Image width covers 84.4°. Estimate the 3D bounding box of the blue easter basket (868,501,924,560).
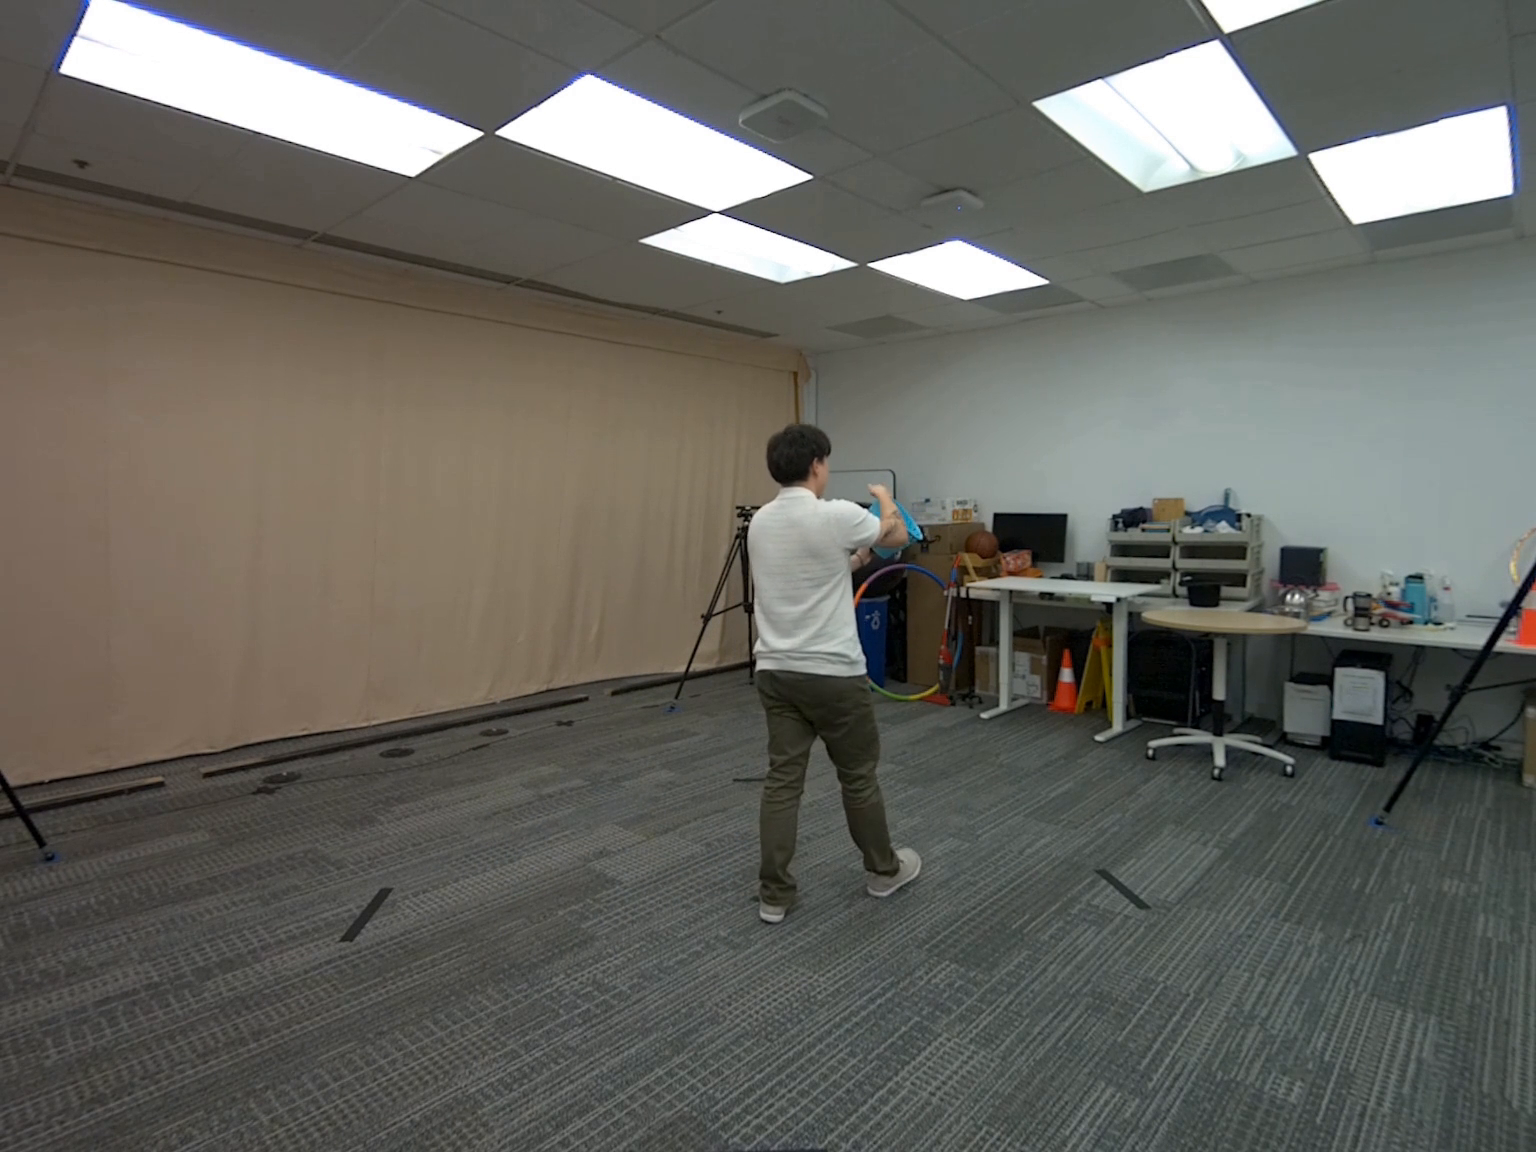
[{"bbox_3d":[0.477,-0.184,3.246,0.157,0.248,0.238,-46,-15,21],"label":"blue easter basket"}]
